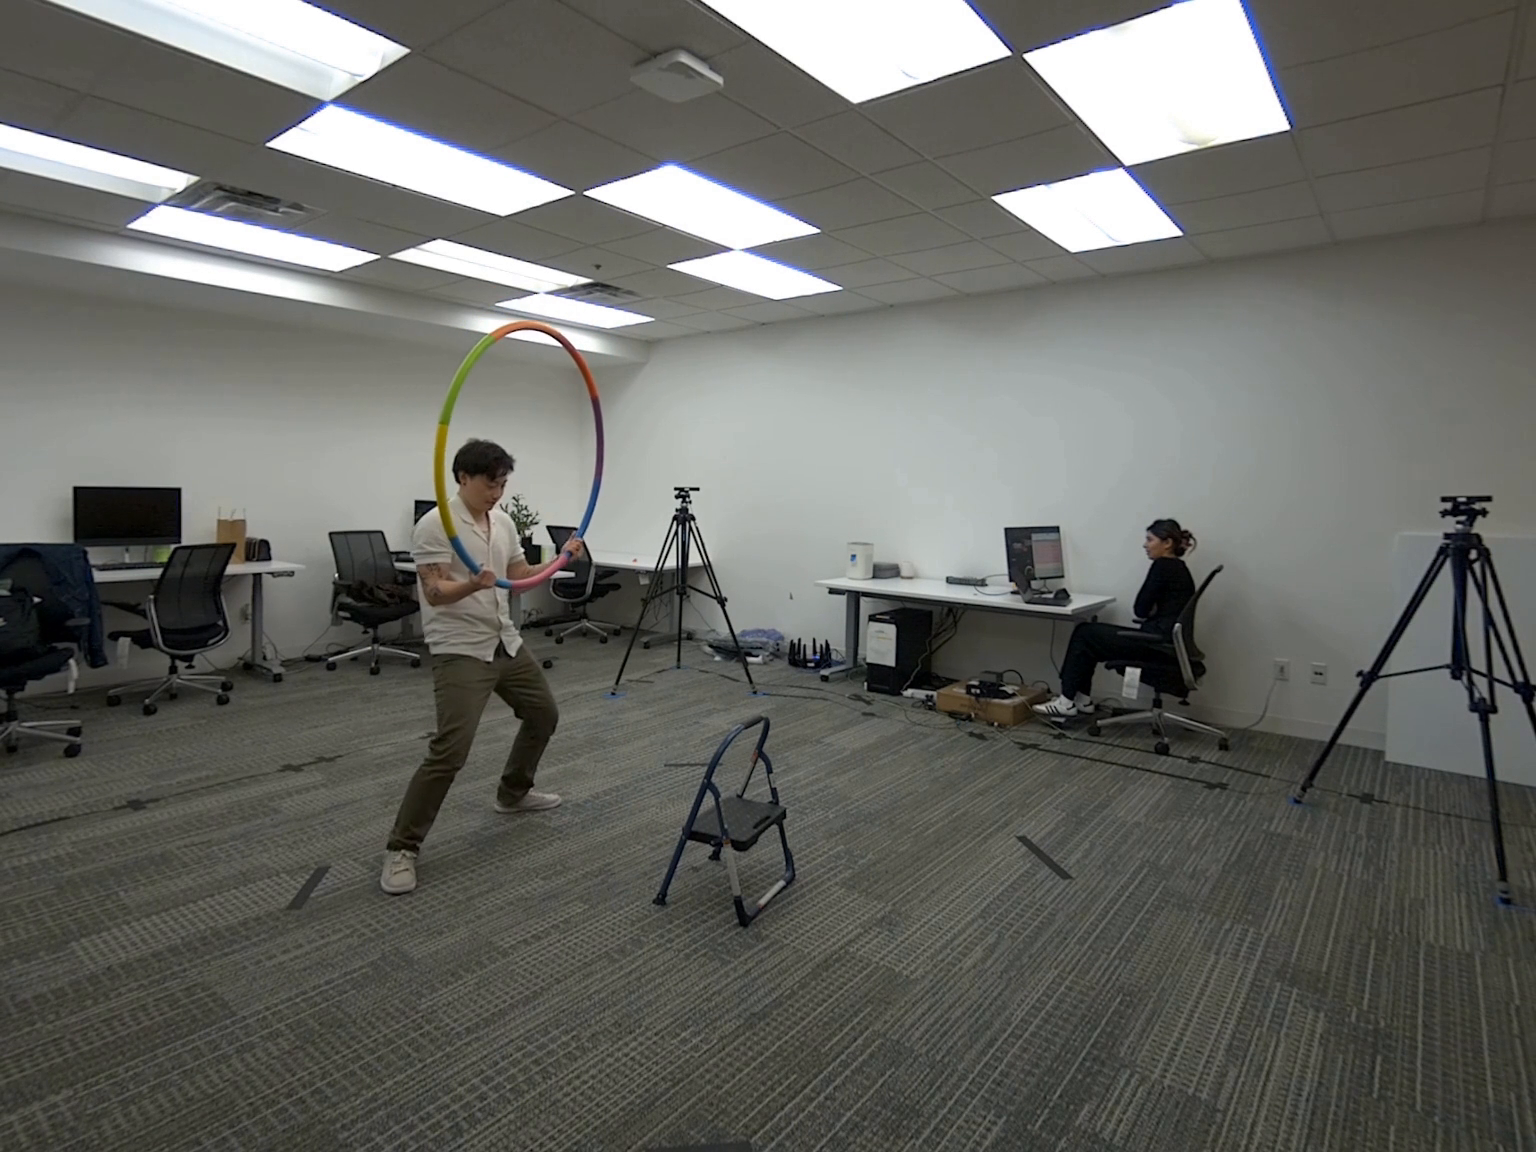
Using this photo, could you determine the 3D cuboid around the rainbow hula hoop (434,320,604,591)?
[{"bbox_3d":[-0.901,-0.448,3.146,0.036,0.974,0.959,8,7,20],"label":"rainbow hula hoop"}]
